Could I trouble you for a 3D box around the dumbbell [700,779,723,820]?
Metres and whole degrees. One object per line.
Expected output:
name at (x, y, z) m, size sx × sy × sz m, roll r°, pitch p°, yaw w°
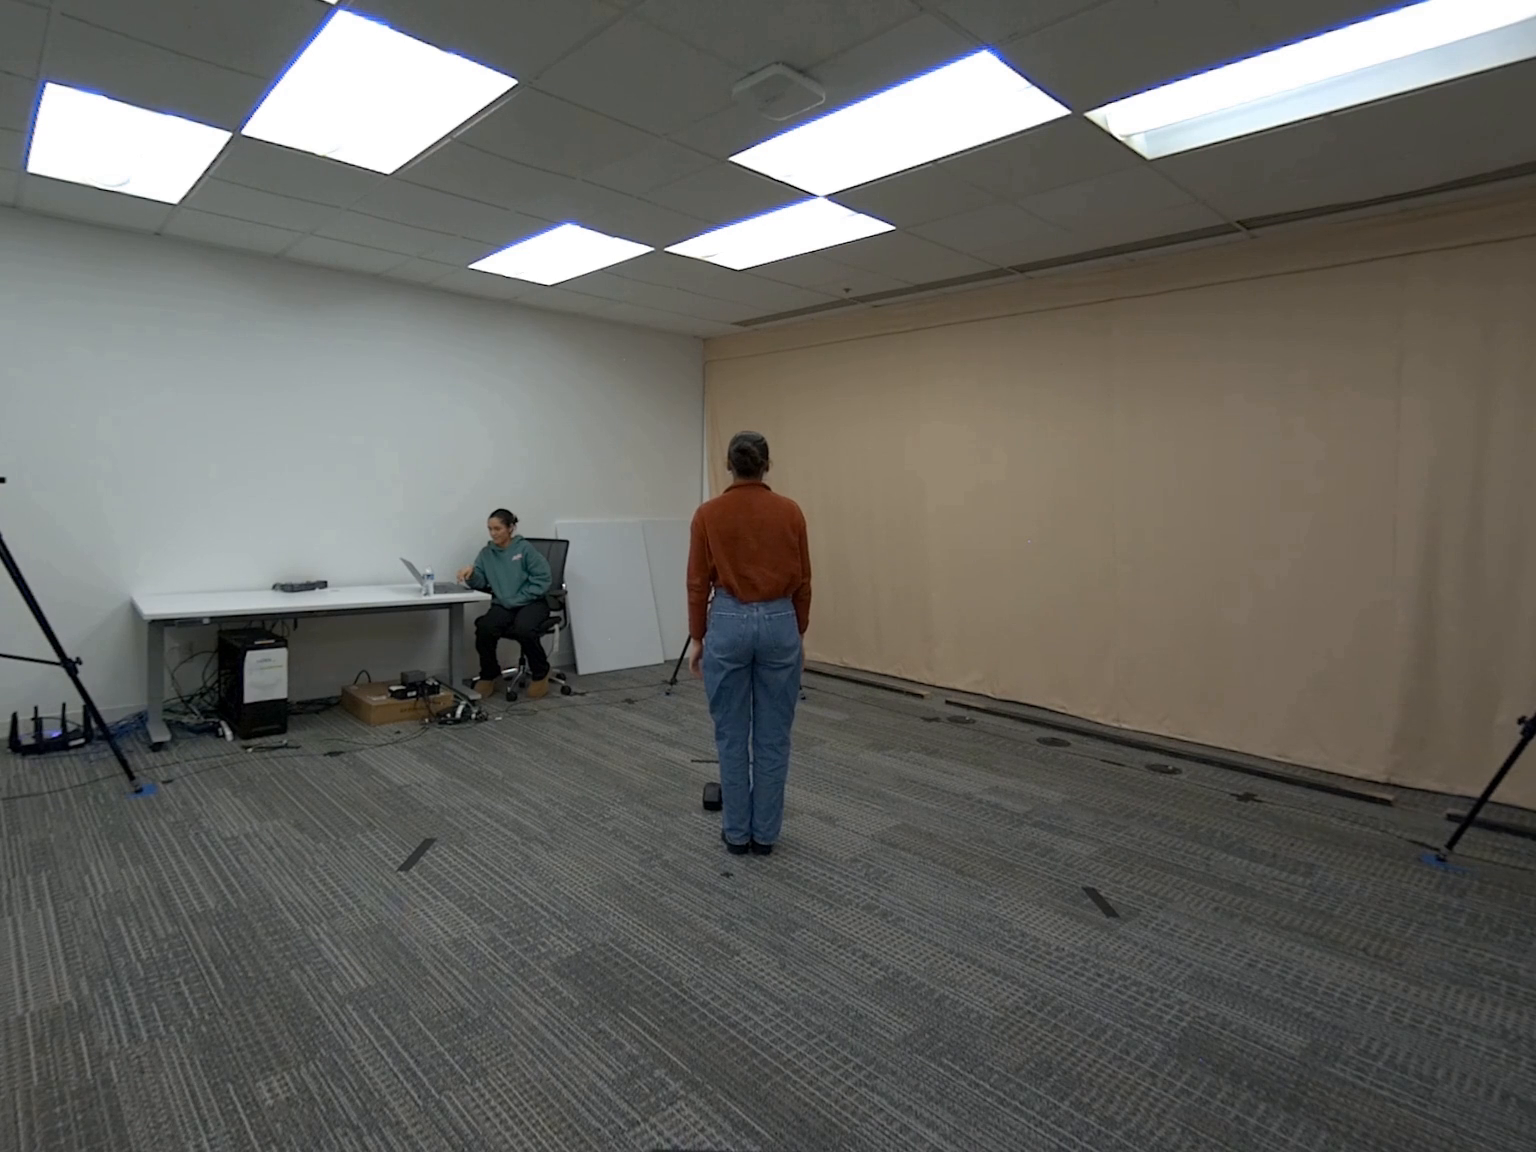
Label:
dumbbell at (-0.147, 0.995, 3.755) m, size 0.295 × 0.120 × 0.110 m, roll 2°, pitch 35°, yaw 6°
